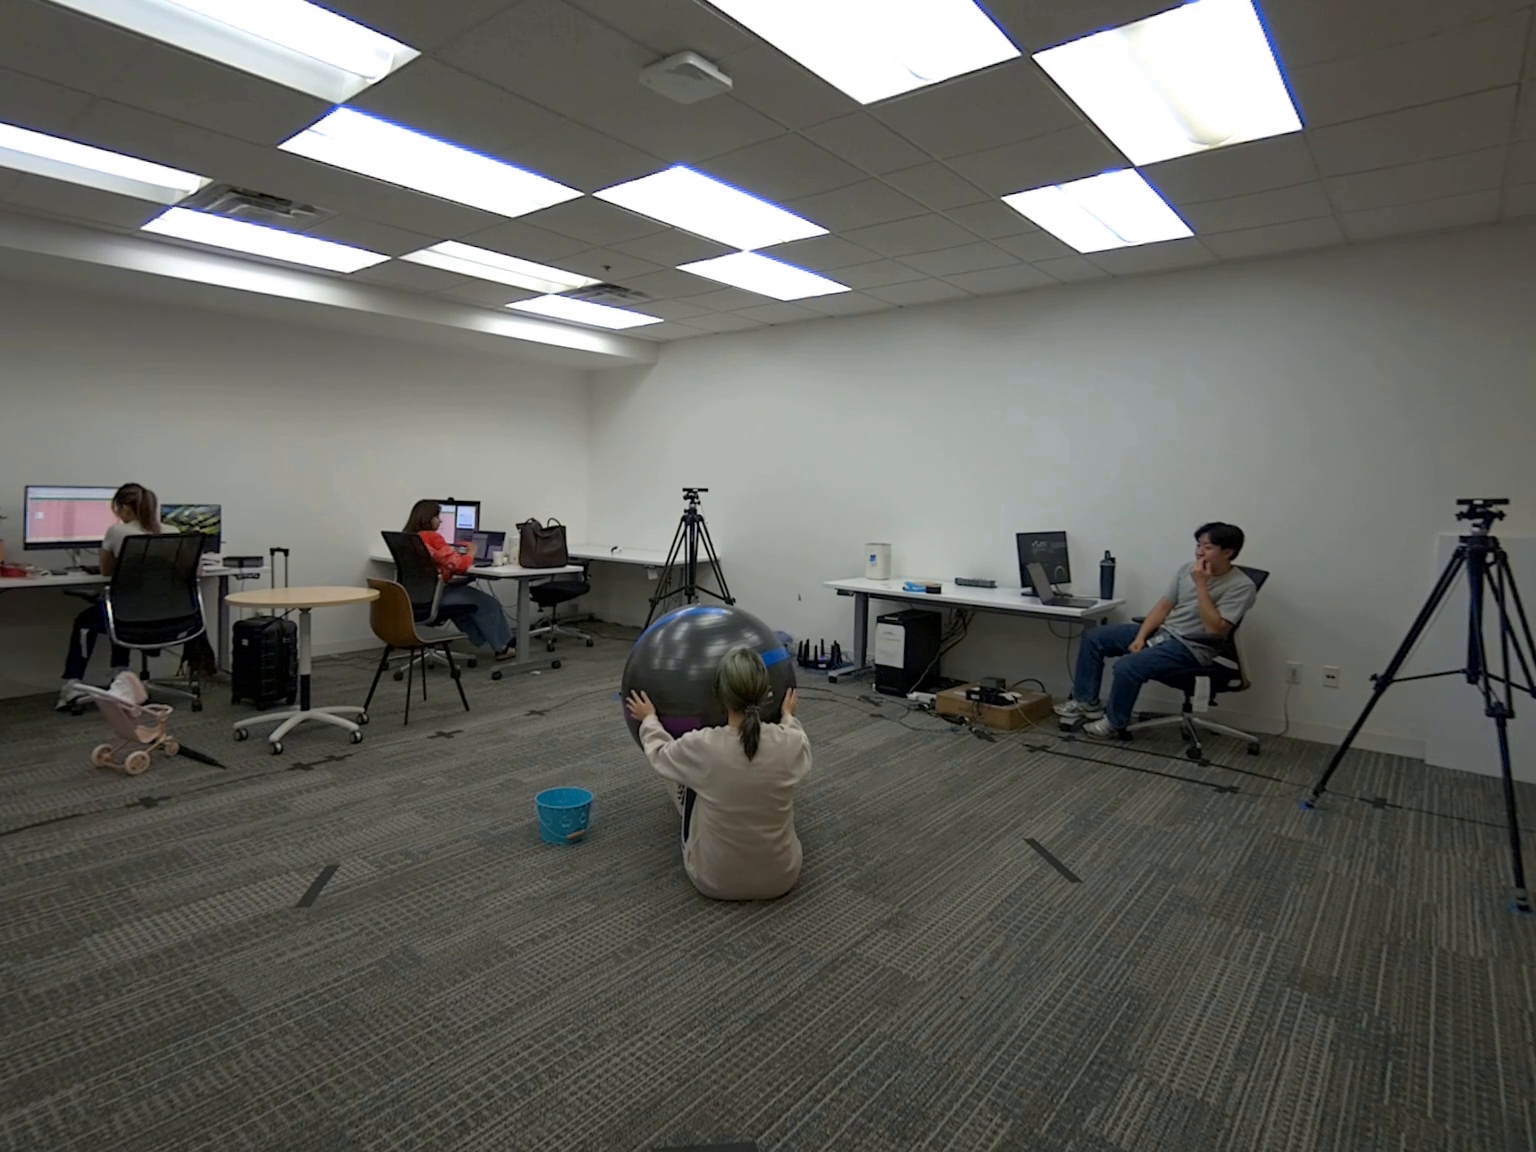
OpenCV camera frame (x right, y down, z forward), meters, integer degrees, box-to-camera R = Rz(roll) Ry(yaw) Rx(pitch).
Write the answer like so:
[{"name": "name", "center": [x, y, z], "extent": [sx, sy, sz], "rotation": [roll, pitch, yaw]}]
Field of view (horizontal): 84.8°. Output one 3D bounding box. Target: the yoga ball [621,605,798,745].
[{"name": "yoga ball", "center": [-0.274, 0.495, 3.695], "extent": [0.757, 0.756, 0.761], "rotation": [1, 4, -2]}]
